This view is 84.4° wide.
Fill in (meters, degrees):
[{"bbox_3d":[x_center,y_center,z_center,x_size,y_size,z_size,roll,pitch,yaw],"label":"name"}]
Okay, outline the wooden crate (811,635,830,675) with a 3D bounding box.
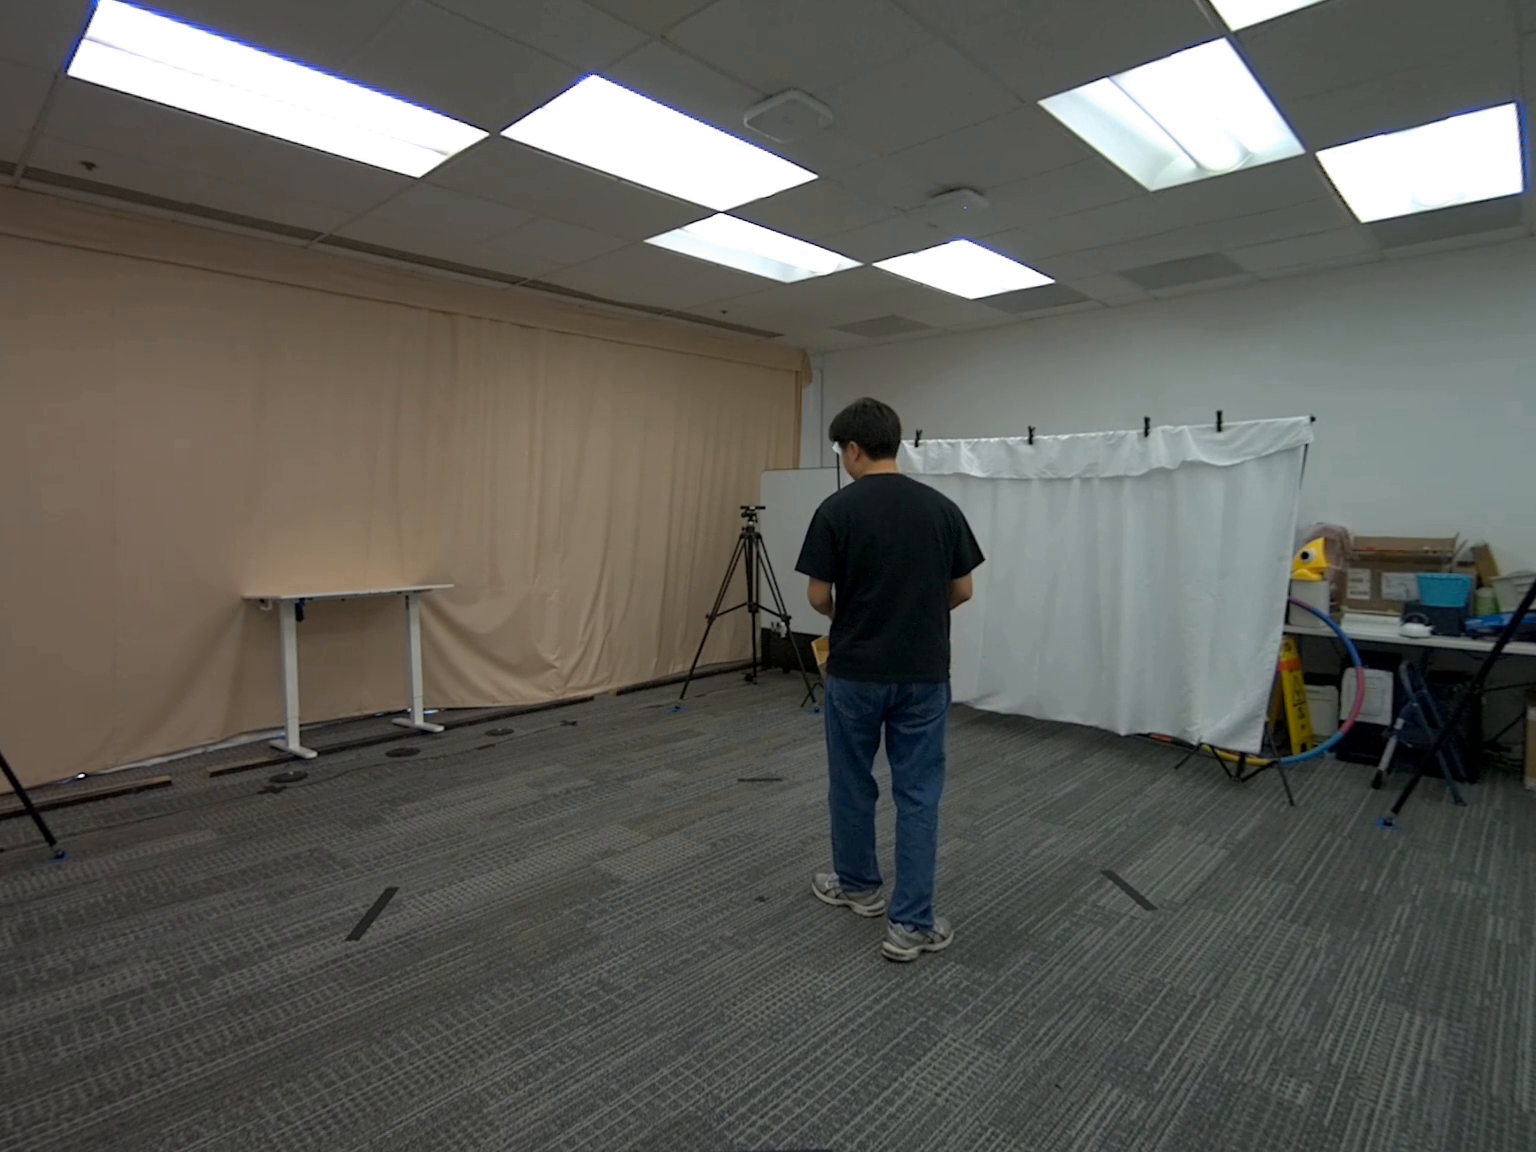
[{"bbox_3d":[0.346,0.218,3.100,0.302,0.272,0.326,5,10,-1],"label":"wooden crate"}]
